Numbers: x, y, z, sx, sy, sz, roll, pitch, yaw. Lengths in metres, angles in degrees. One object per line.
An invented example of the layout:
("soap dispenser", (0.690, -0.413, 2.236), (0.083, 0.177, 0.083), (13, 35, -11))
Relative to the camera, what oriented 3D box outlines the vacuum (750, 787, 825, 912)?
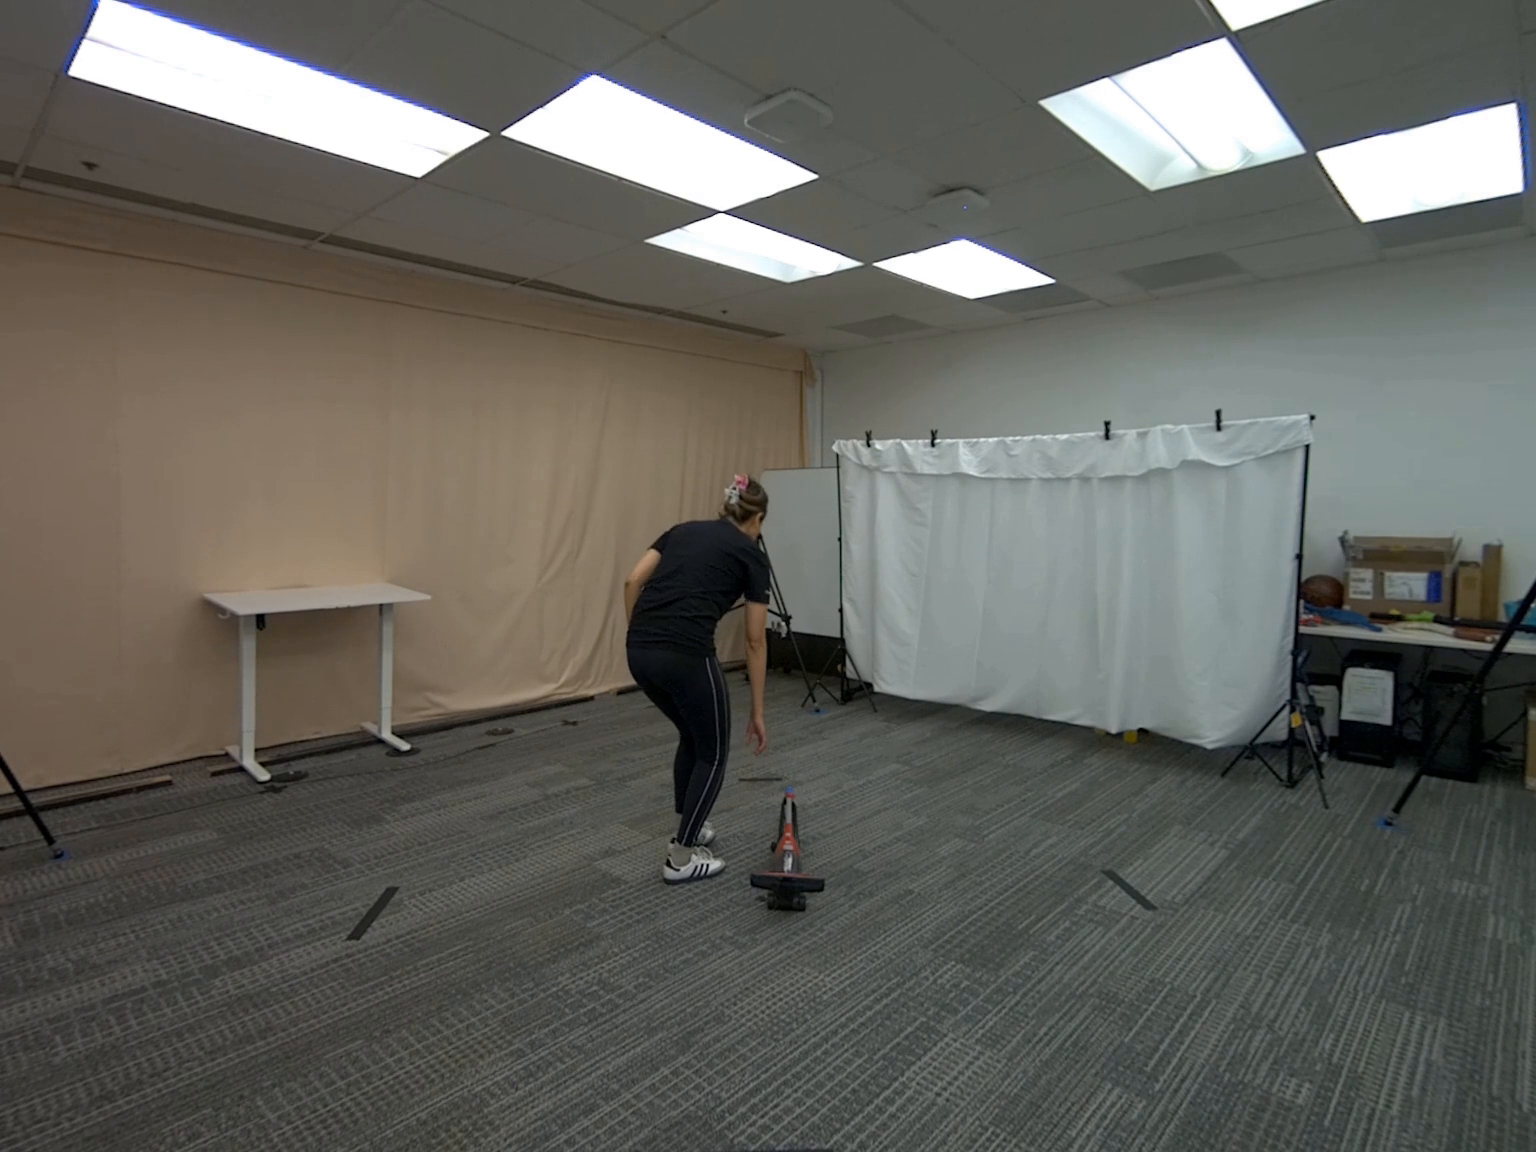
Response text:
("vacuum", (0.076, 1.047, 3.389), (0.253, 0.144, 1.048), (2, 4, 0))
